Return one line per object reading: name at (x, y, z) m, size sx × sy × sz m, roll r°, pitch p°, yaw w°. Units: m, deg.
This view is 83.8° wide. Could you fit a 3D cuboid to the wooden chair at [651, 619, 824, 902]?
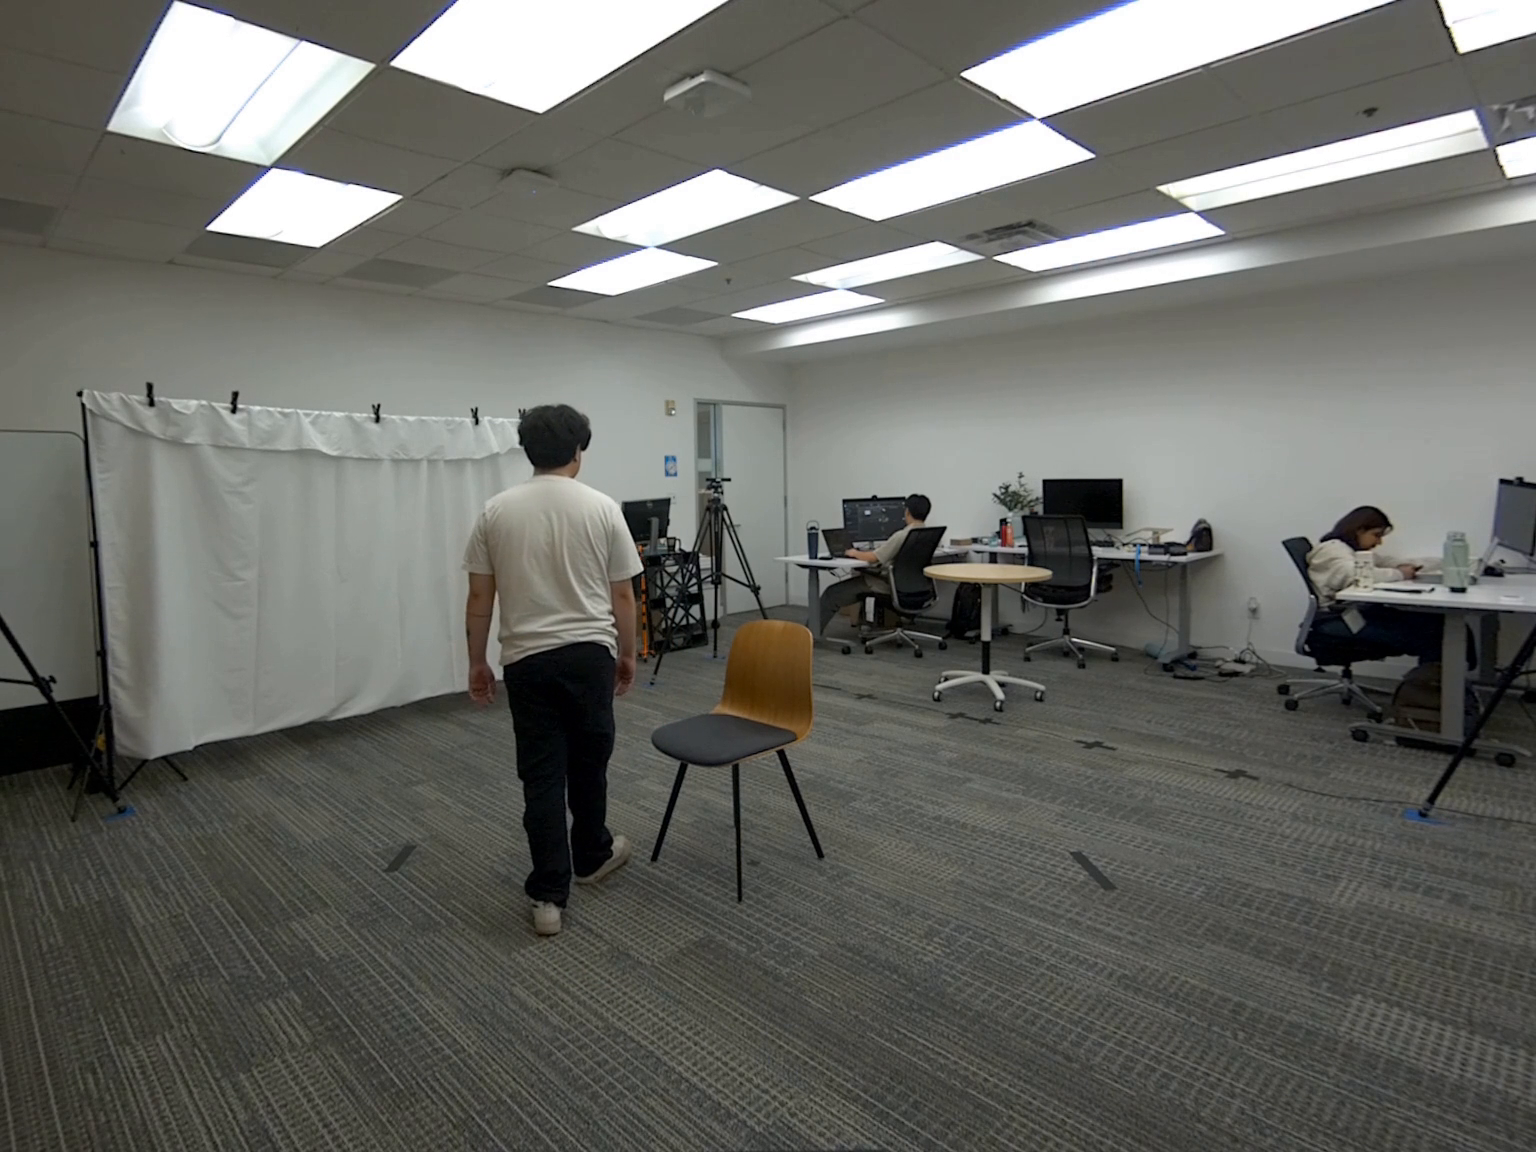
wooden chair at (-0.122, 0.617, 3.093) m, size 0.493 × 0.876 × 0.508 m, roll 3°, pitch 2°, yaw 43°
